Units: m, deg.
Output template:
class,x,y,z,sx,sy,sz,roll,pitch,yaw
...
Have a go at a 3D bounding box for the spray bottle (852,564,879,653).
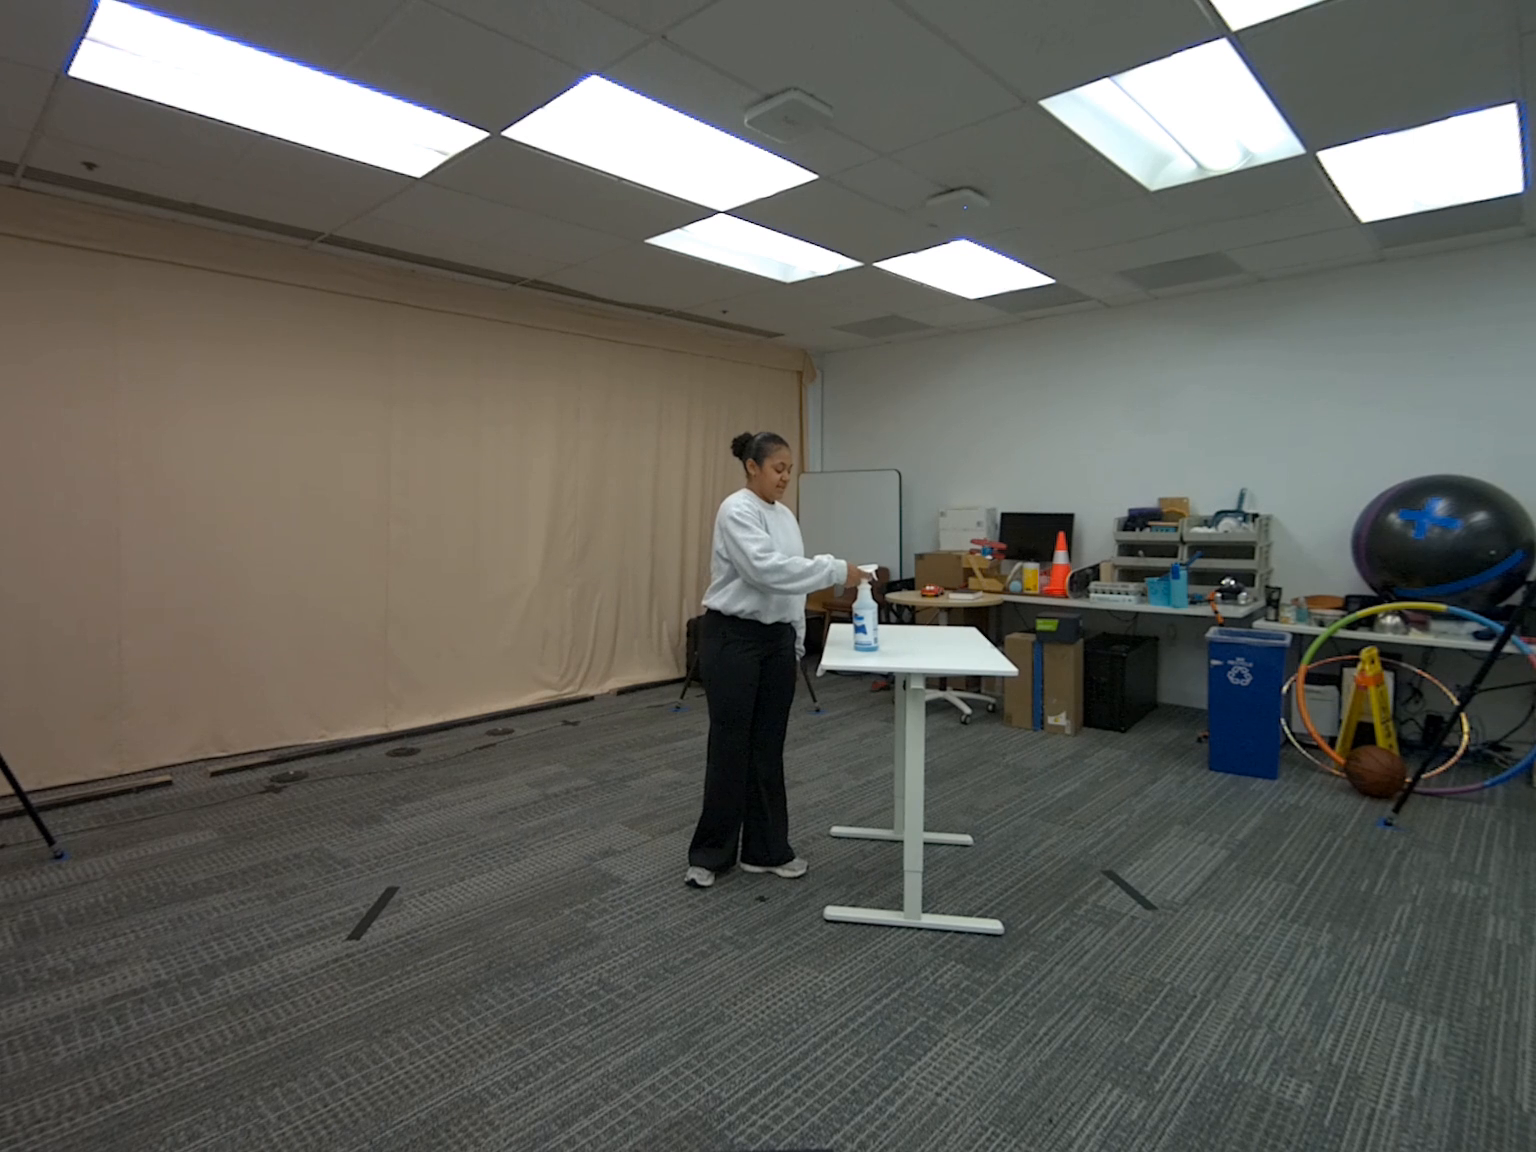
class,x,y,z,sx,sy,sz,roll,pitch,yaw
spray bottle,0.342,0.113,2.951,0.091,0.297,0.086,-1,1,14
